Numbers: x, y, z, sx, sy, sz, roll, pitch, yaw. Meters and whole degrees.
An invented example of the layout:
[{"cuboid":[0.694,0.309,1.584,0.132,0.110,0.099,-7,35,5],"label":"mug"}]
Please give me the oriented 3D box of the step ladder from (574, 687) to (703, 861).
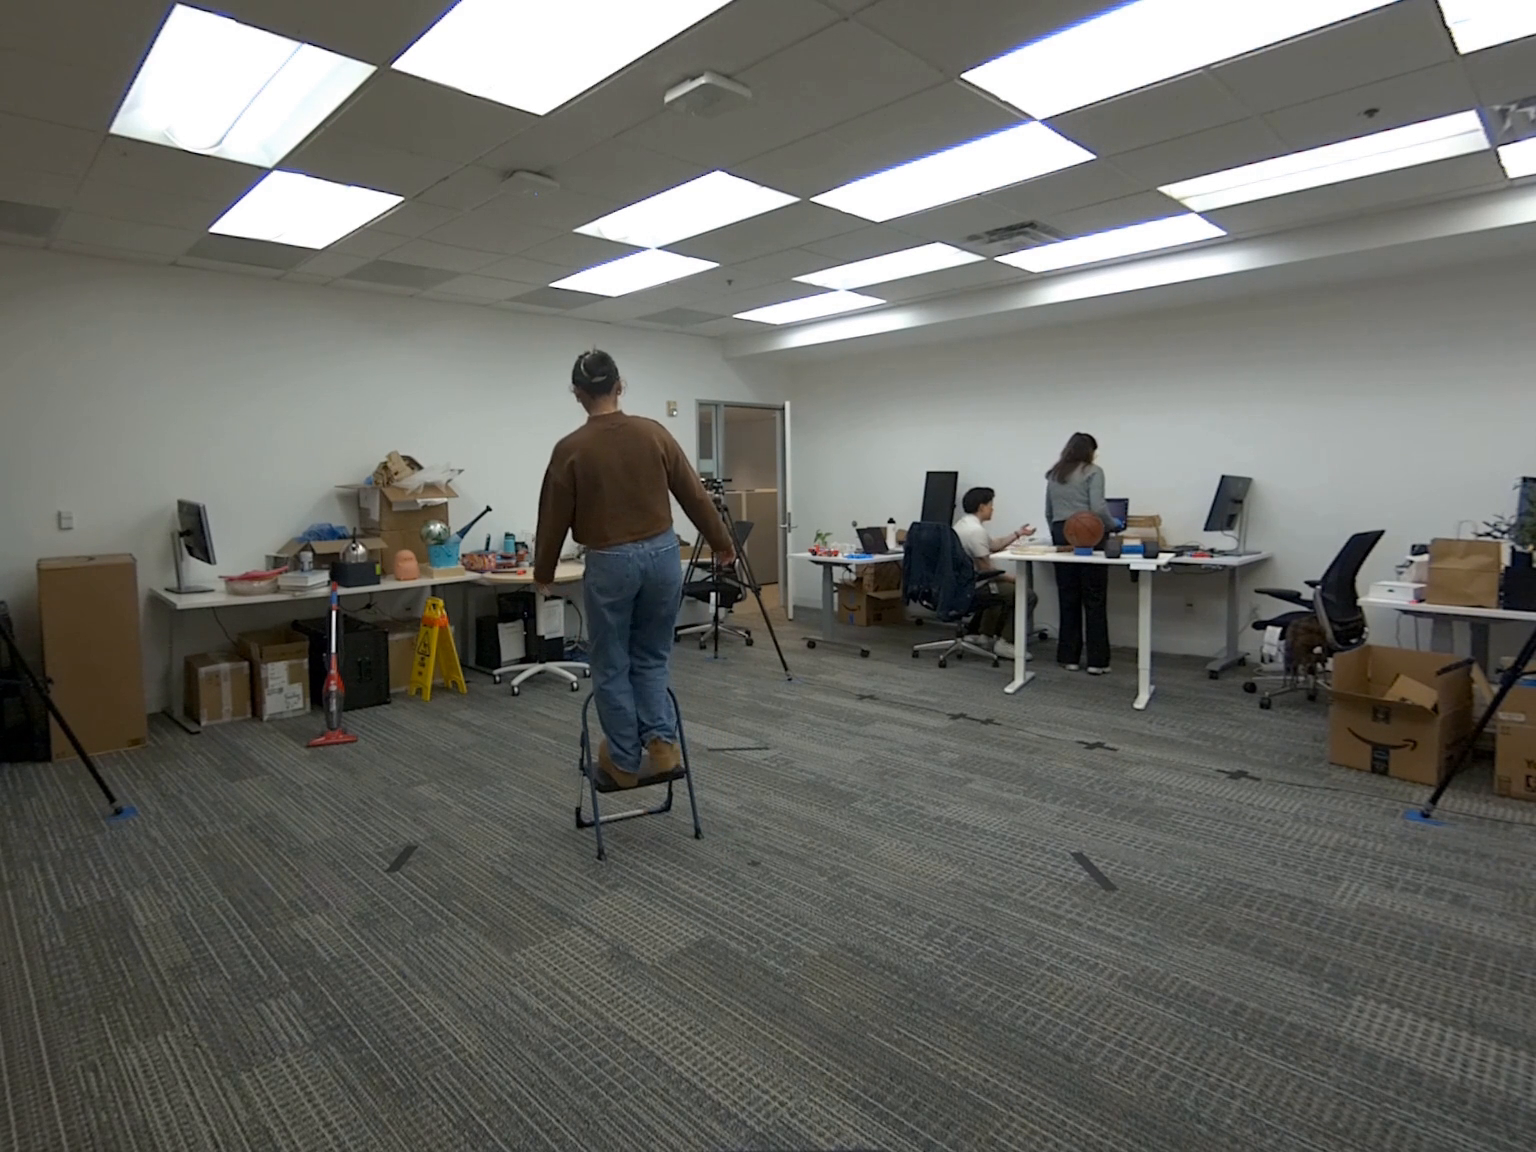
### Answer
[{"cuboid":[-0.522,0.720,3.386,0.421,0.604,0.358,-4,4,-28],"label":"step ladder"}]
